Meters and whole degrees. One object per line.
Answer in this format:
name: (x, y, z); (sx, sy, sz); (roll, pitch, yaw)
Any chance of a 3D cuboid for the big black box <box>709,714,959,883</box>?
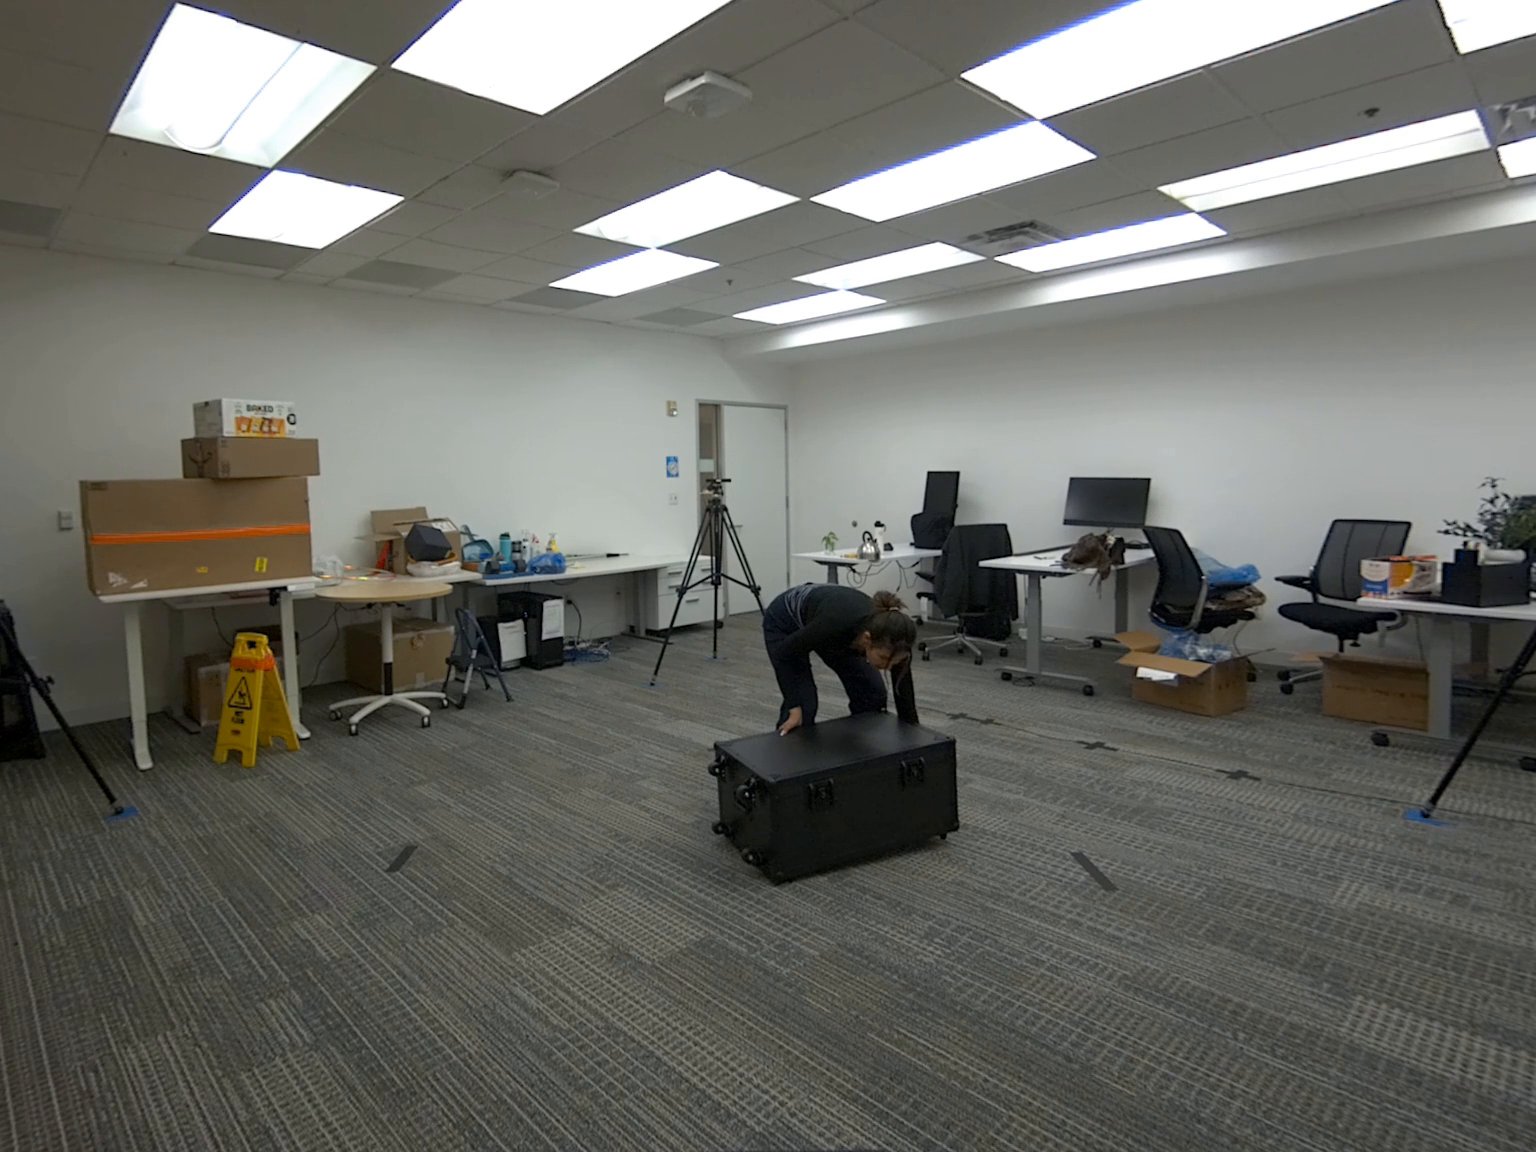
big black box: (0.275, 0.817, 3.271); (0.846, 0.394, 0.534); (-6, 7, -23)
